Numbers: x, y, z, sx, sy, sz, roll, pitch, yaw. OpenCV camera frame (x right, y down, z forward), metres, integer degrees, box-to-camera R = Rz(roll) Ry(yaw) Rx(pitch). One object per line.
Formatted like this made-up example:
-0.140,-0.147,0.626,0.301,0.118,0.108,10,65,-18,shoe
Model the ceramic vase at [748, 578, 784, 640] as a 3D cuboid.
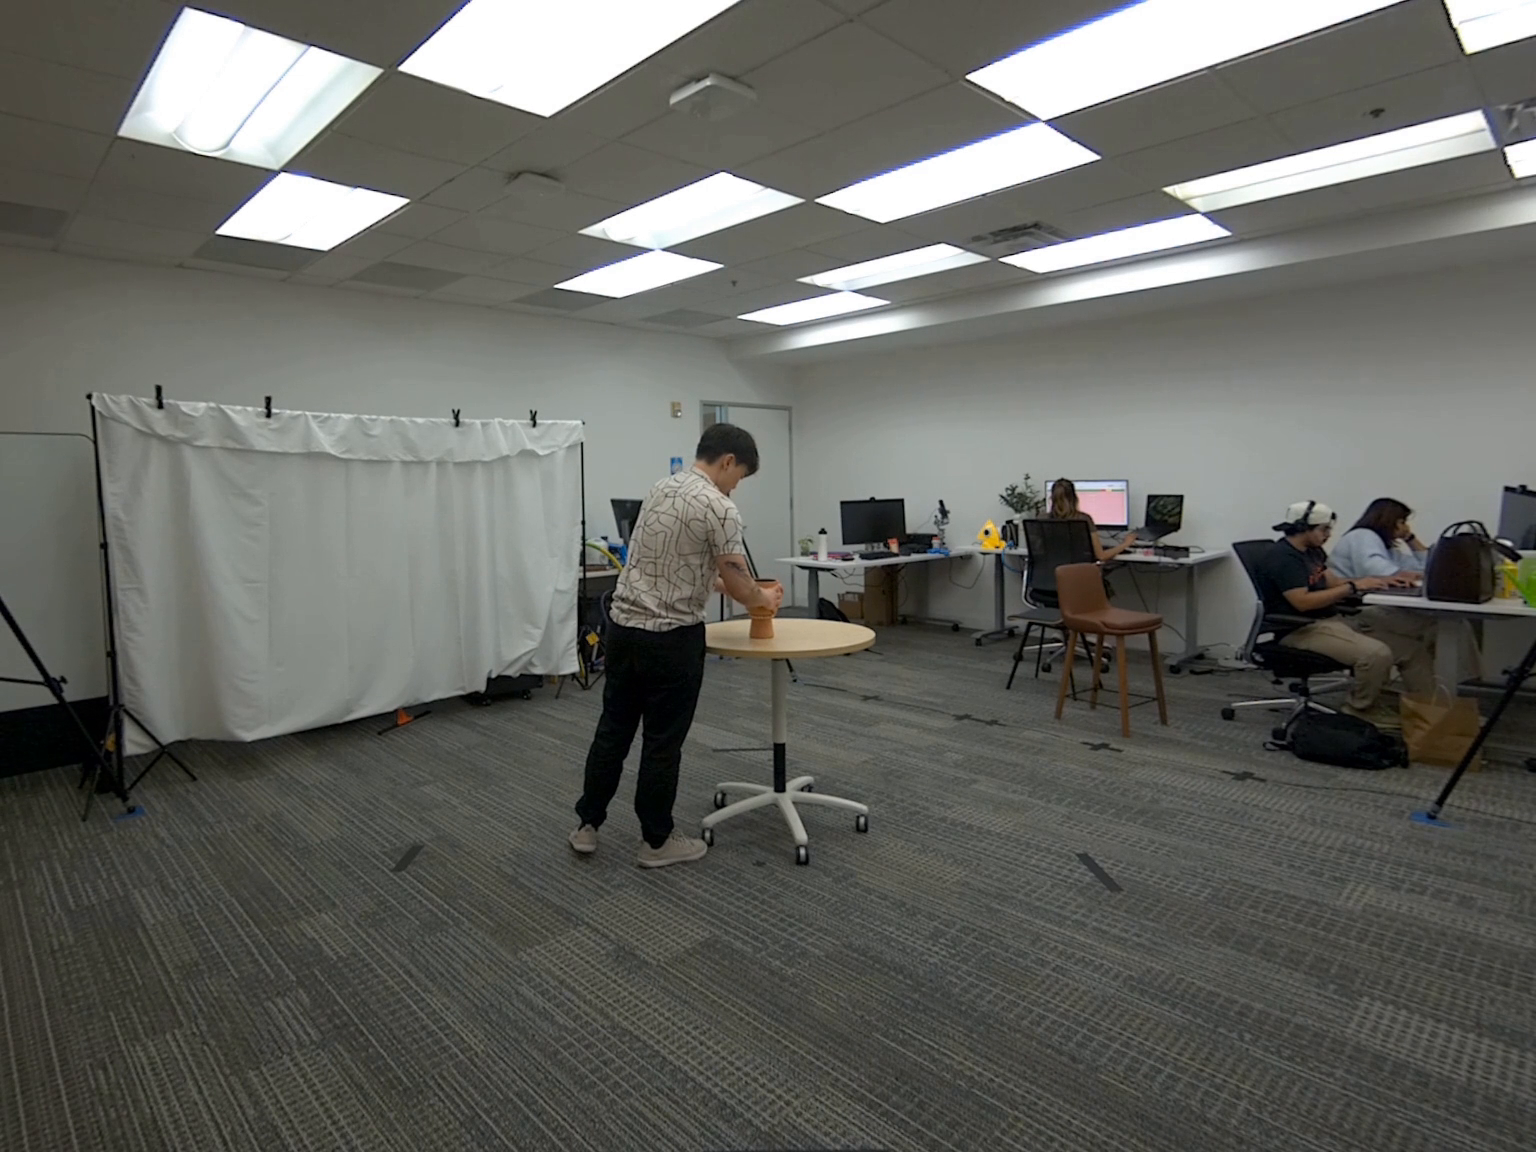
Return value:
-0.020,0.127,3.333,0.160,0.218,0.134,2,6,7,ceramic vase
